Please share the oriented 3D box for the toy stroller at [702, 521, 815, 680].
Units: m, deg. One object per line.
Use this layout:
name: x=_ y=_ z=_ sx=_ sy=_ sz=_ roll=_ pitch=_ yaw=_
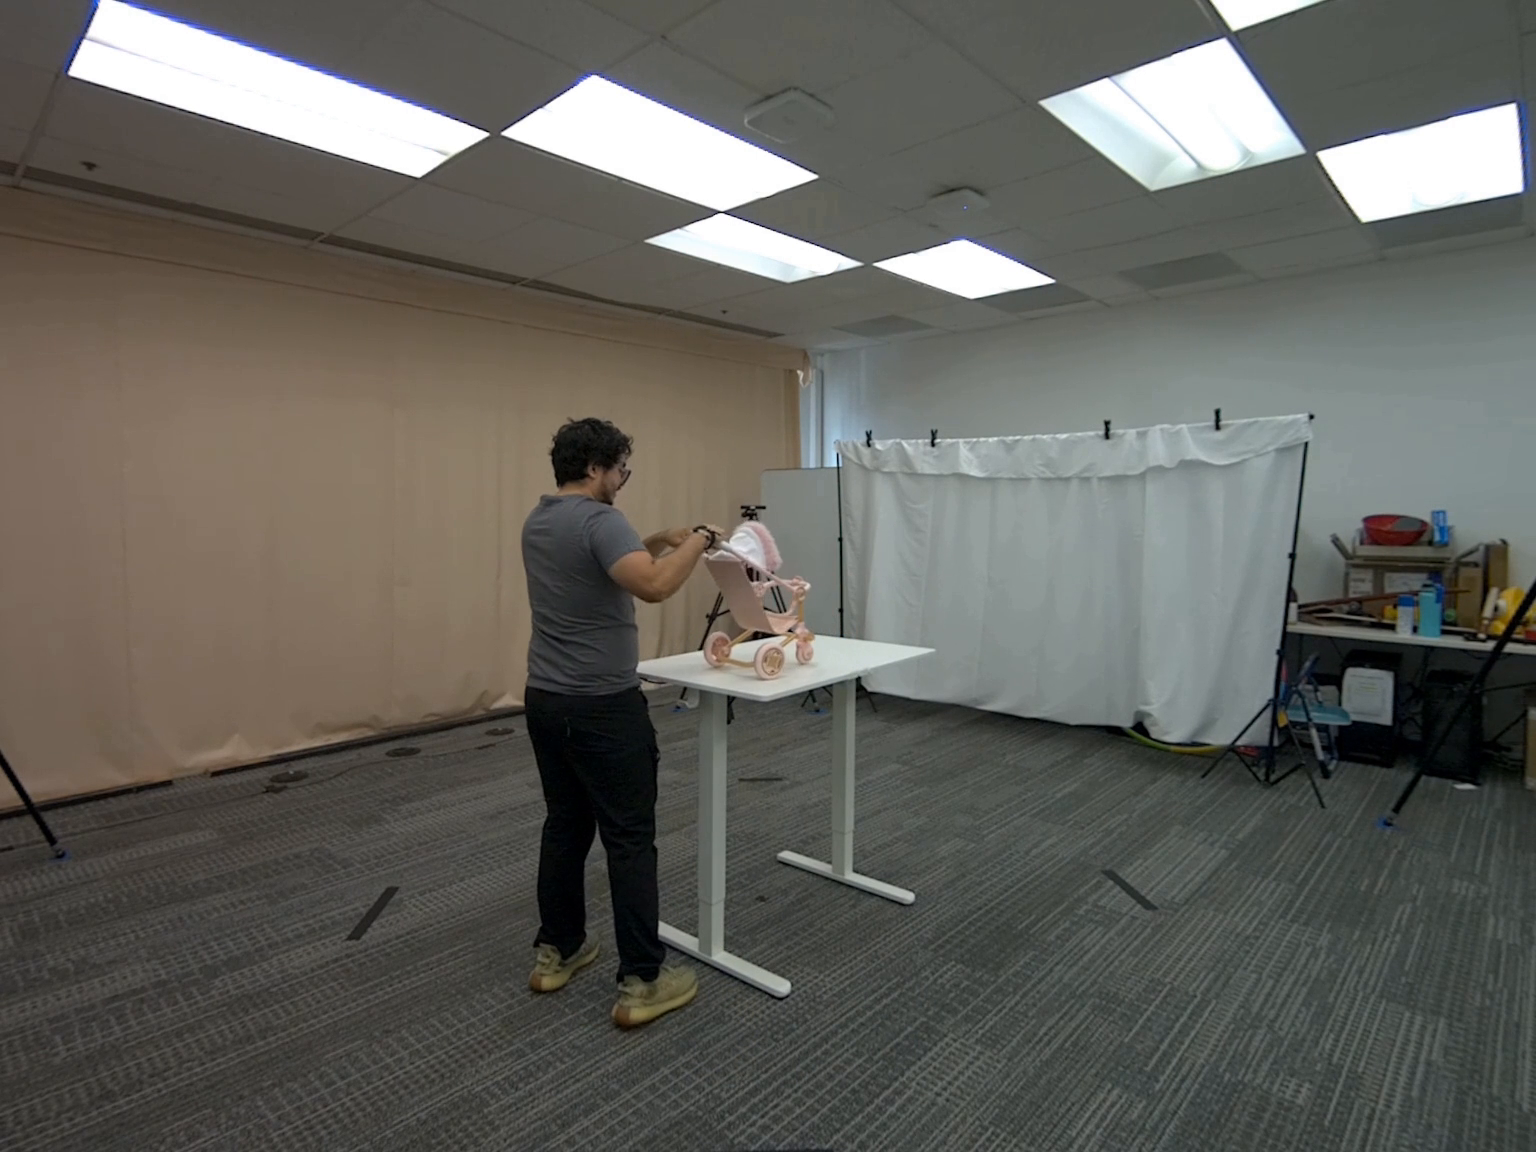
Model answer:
toy stroller: x=-0.025 y=0.070 z=2.577 sx=0.334 sy=0.530 sz=0.290 roll=-20 pitch=14 yaw=-32
